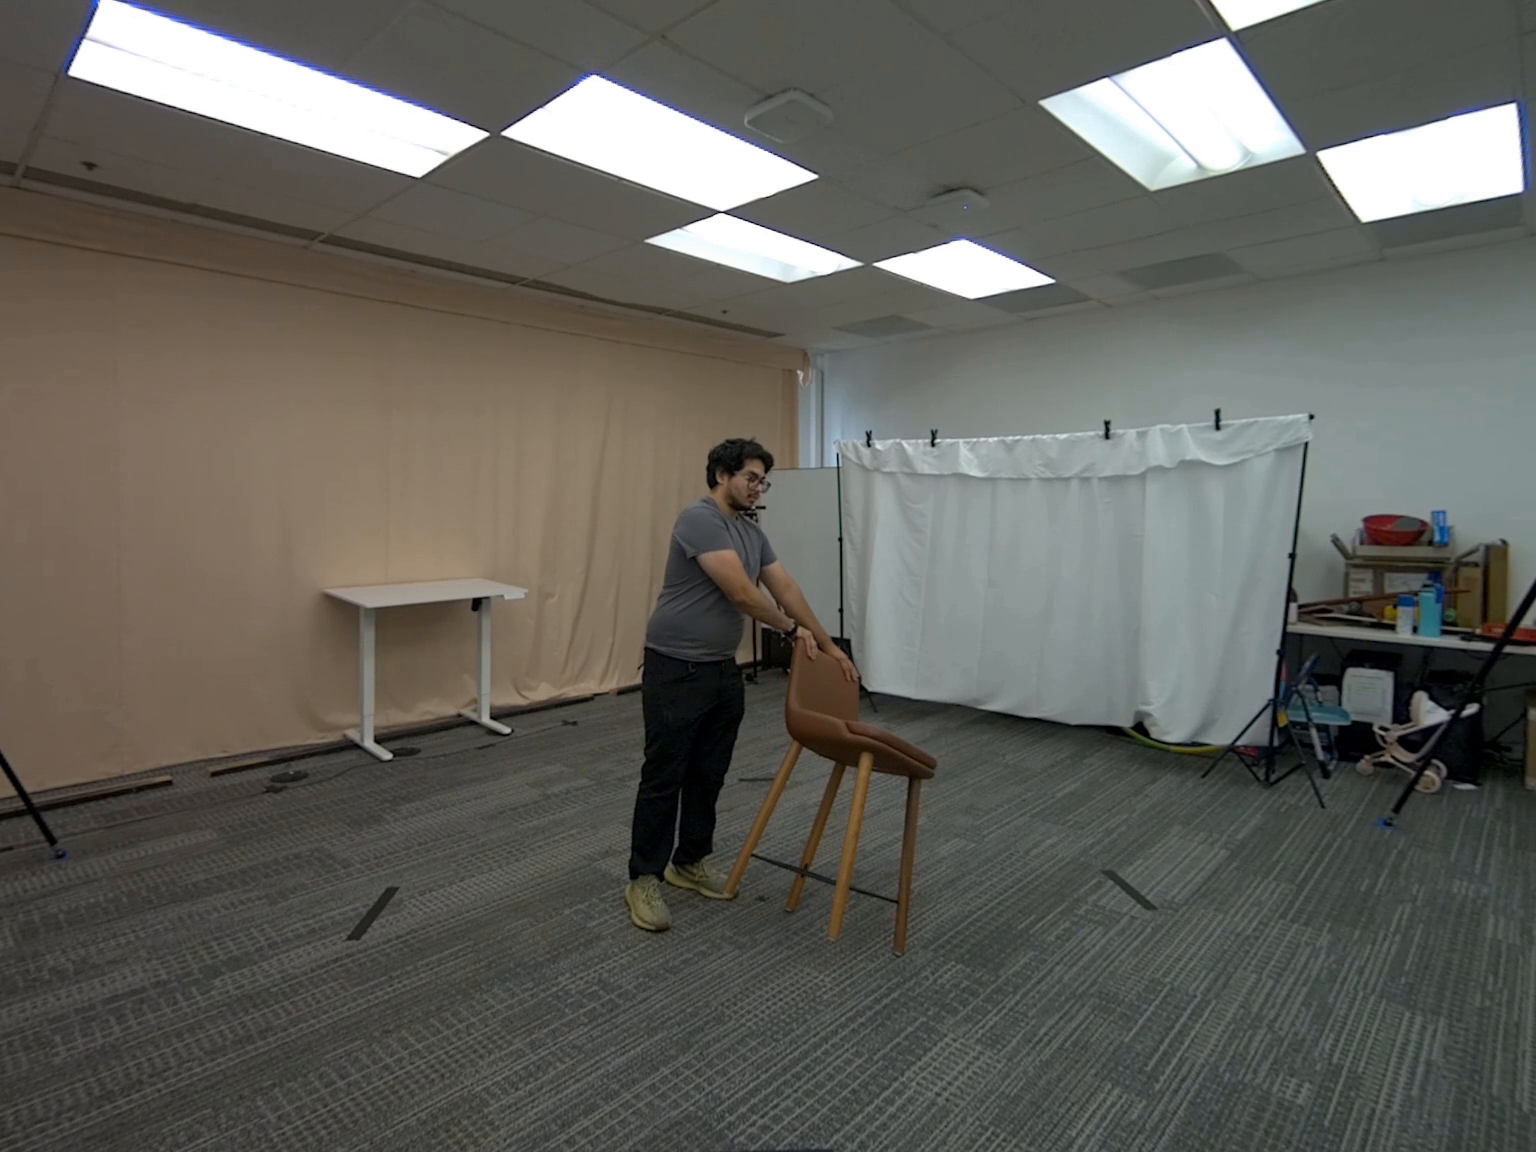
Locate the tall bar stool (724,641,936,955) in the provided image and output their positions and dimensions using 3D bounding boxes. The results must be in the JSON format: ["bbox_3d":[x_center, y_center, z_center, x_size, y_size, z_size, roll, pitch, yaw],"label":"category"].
[{"bbox_3d":[0.258,0.688,2.763,0.482,0.894,0.440,-2,-24,42],"label":"tall bar stool"}]
